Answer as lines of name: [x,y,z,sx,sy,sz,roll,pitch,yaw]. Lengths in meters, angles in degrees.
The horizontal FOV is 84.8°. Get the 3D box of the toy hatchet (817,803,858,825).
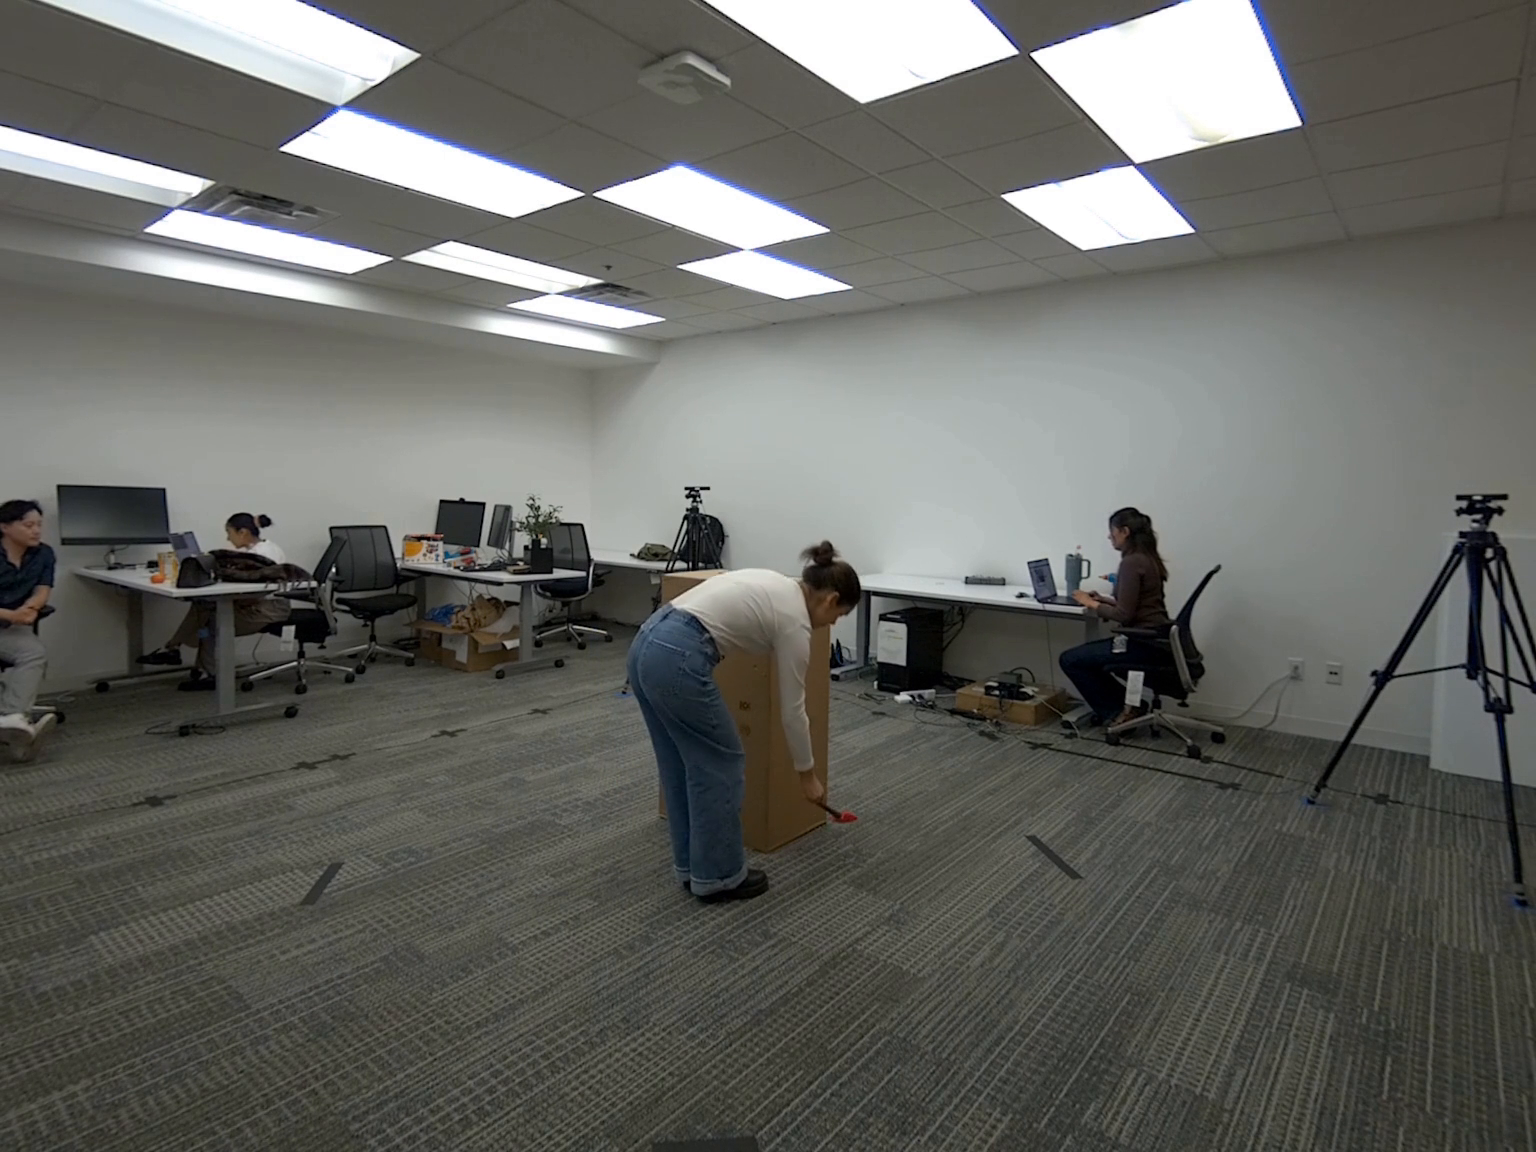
toy hatchet: [0.234,0.806,3.007,0.134,0.030,0.259,-1,-41,26]
